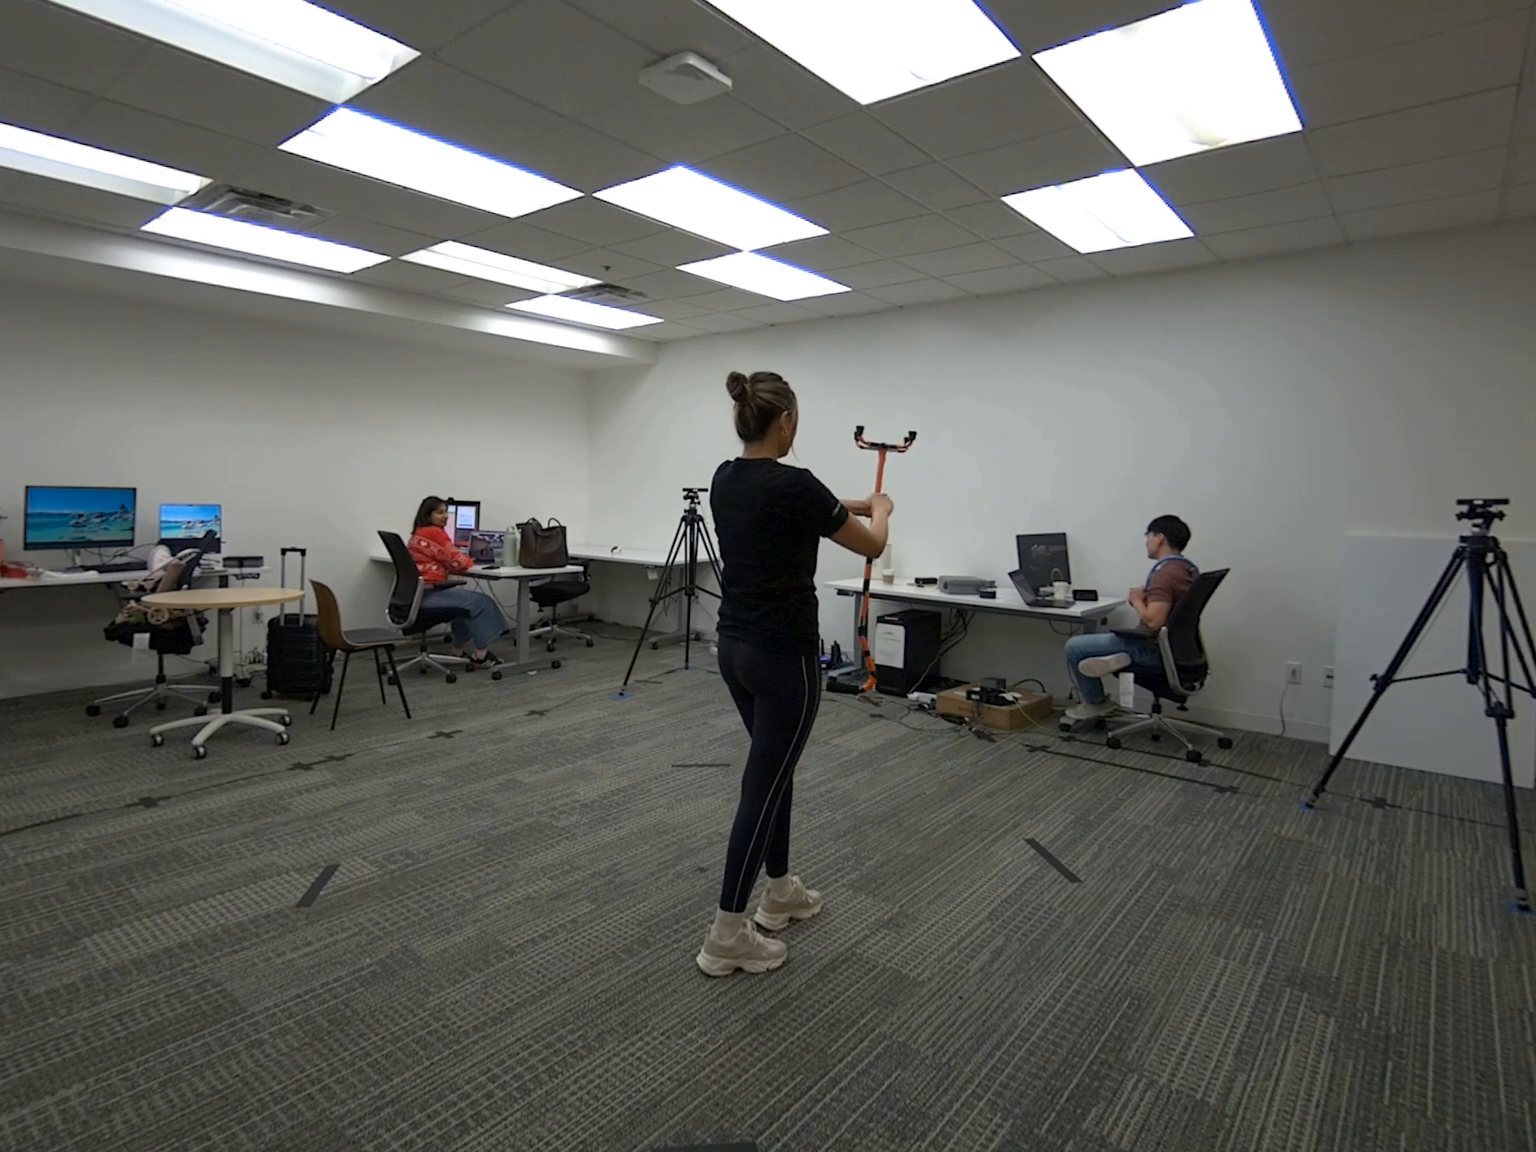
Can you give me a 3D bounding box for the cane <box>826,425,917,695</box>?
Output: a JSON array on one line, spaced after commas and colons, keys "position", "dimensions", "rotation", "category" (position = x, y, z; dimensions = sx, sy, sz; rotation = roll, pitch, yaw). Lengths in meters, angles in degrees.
[{"position": [0.346, -0.053, 2.932], "dimensions": [0.208, 0.911, 0.150], "rotation": [9, -4, 4], "category": "cane"}]
